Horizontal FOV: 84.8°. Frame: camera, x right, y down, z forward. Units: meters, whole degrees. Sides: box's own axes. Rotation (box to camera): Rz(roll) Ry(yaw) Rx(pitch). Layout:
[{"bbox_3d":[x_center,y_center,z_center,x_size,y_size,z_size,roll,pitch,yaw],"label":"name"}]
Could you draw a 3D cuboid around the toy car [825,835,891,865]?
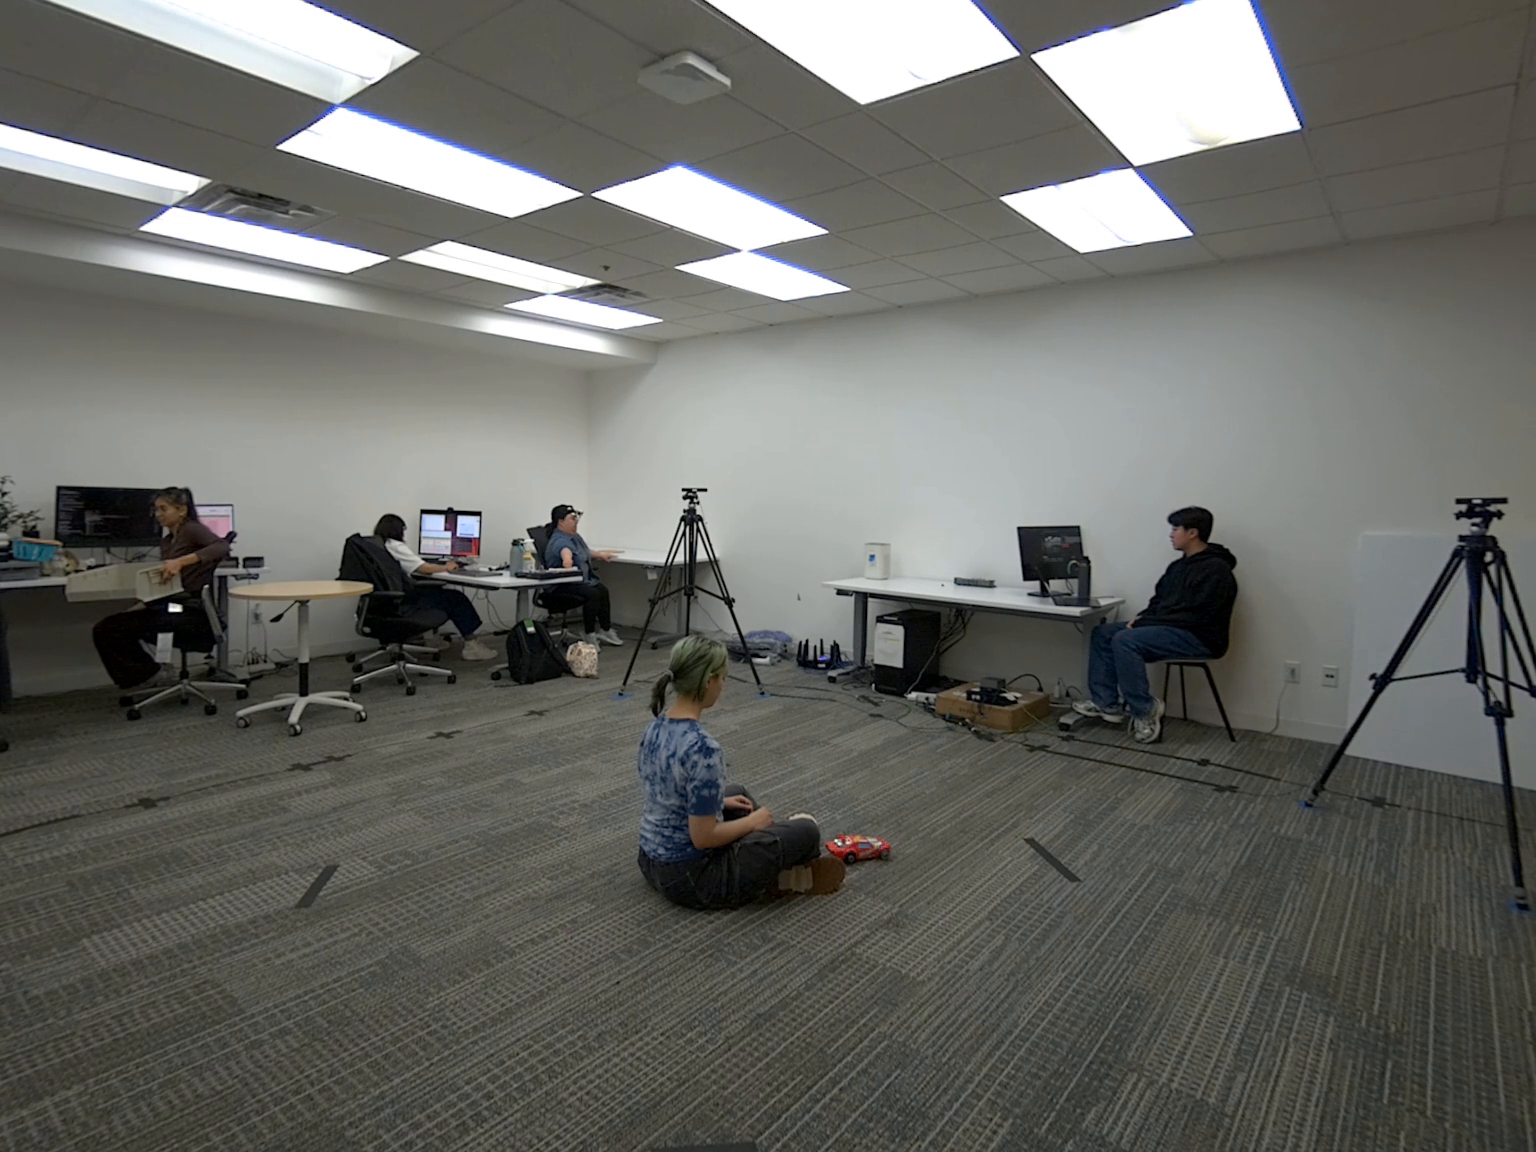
[{"bbox_3d":[0.328,1.037,3.236,0.249,0.083,0.133,11,2,-18],"label":"toy car"}]
